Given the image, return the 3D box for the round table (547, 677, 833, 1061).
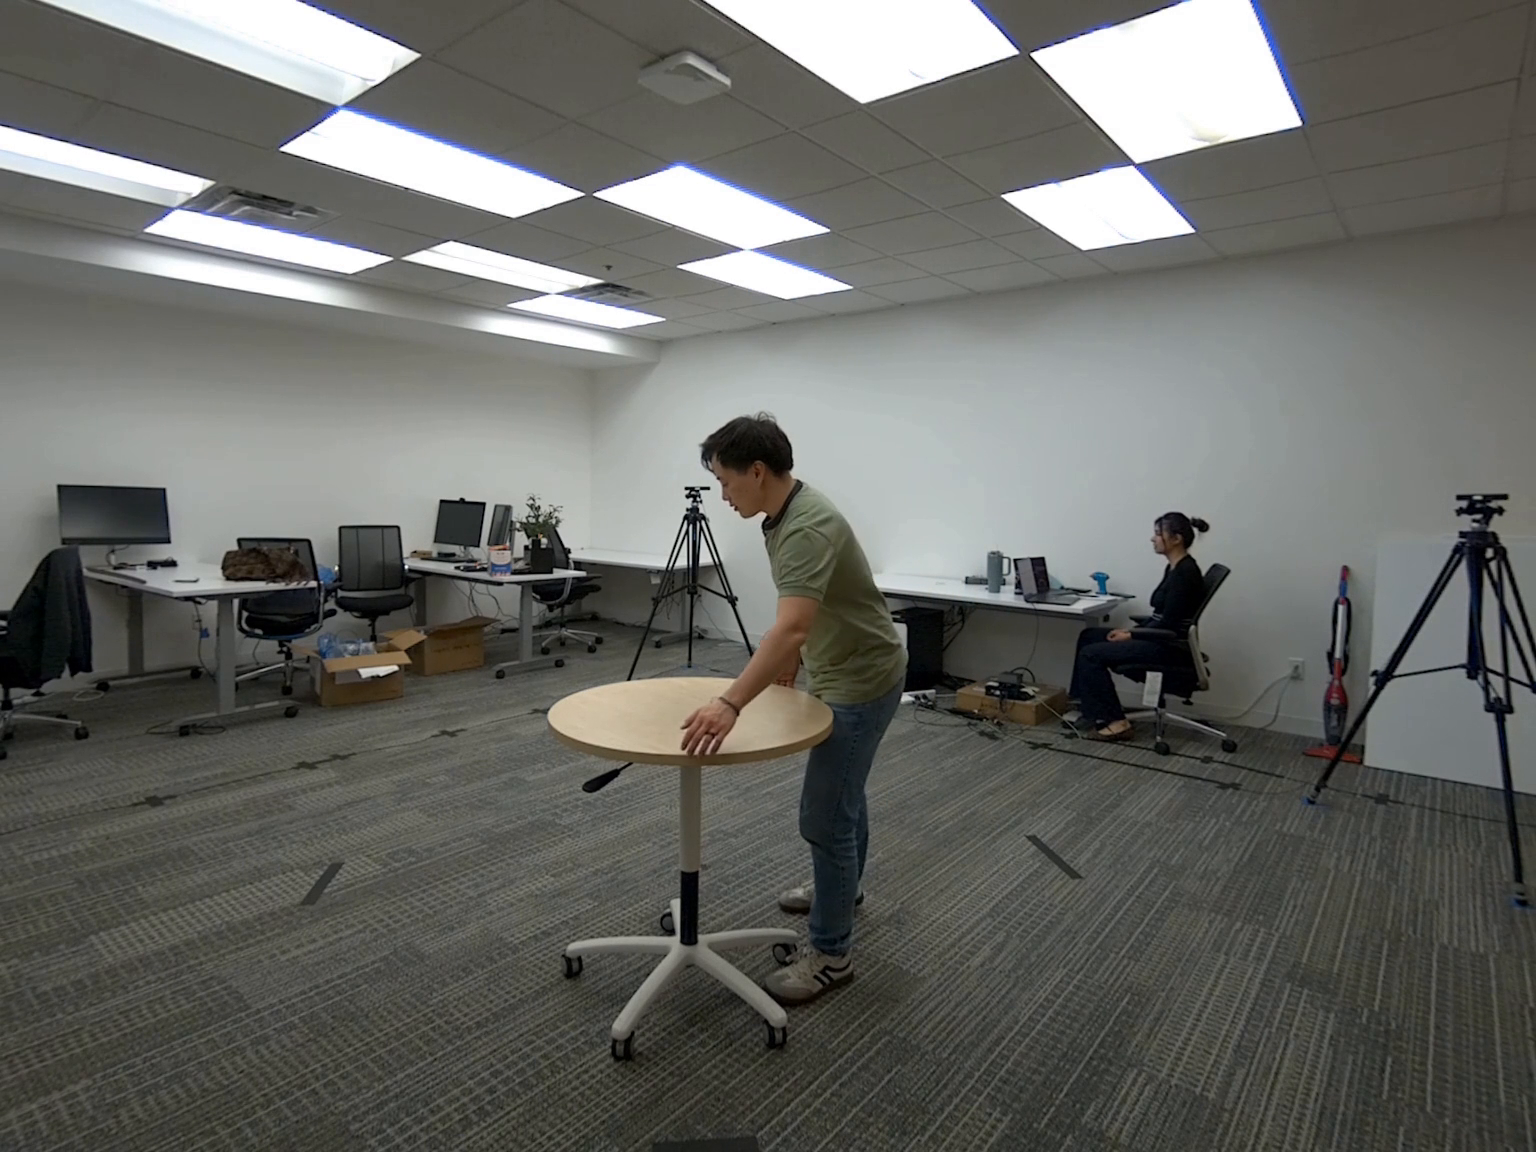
[{"bbox_3d":[-0.222,0.753,2.329,0.763,0.790,0.769,0,5,-2],"label":"round table"}]
